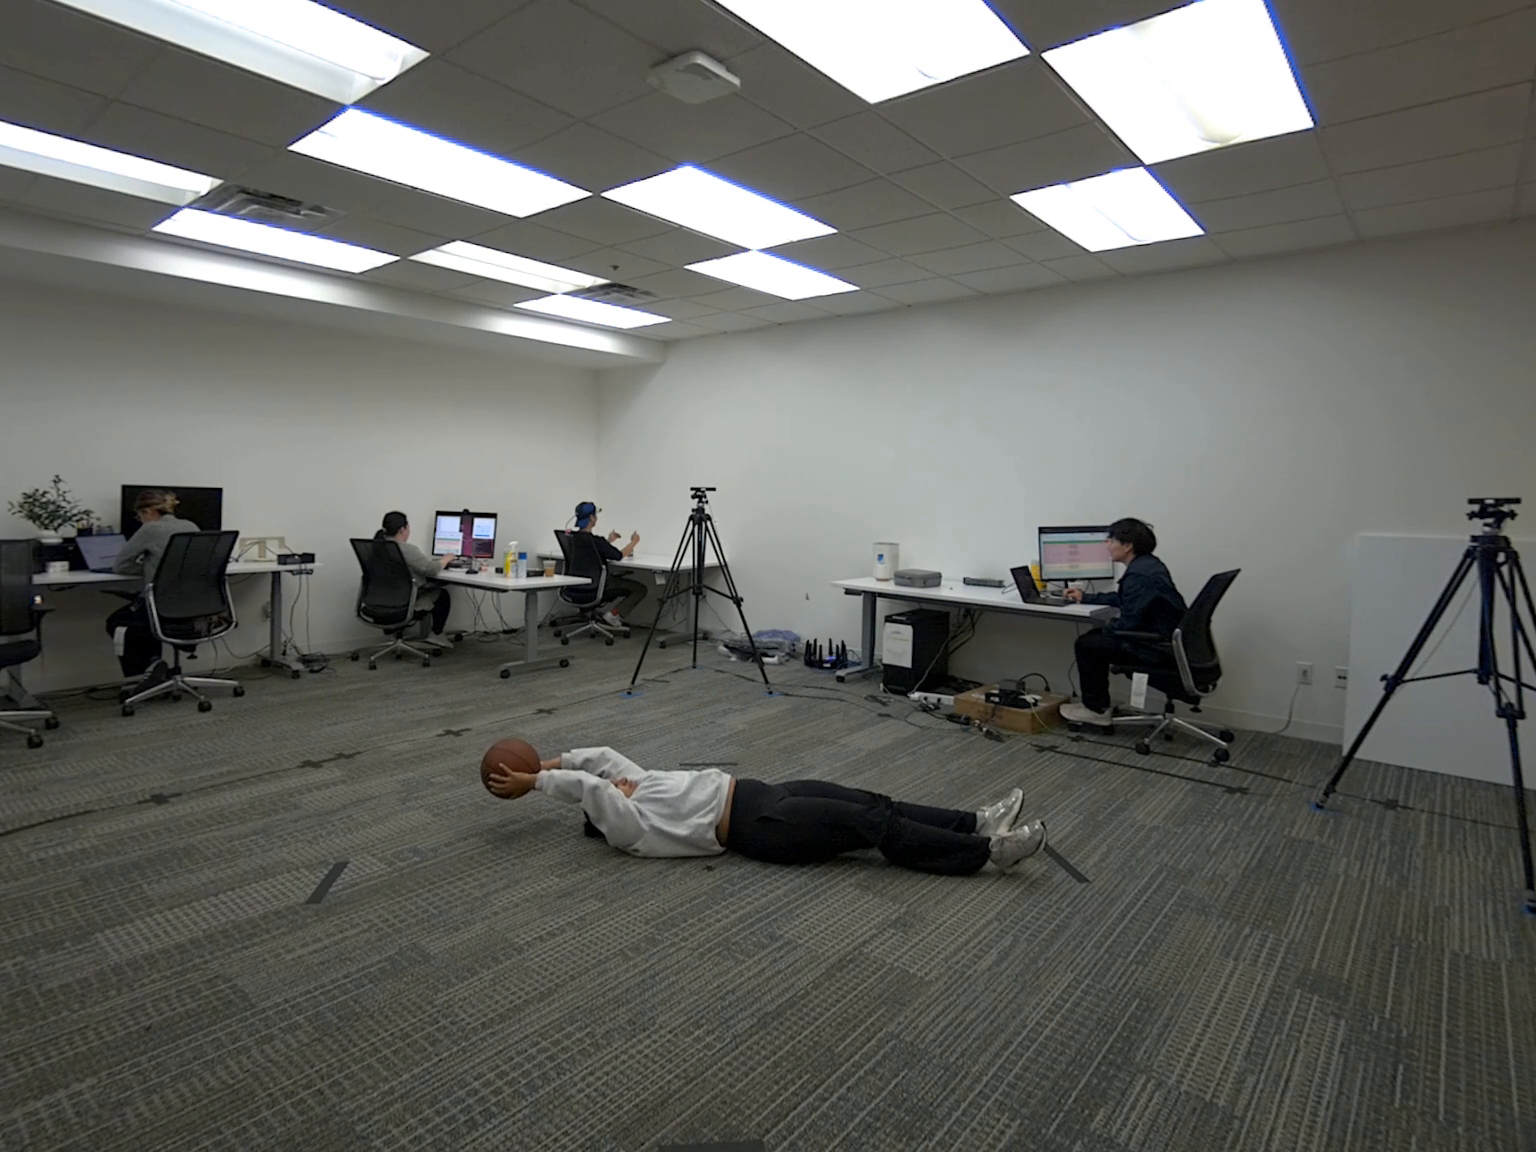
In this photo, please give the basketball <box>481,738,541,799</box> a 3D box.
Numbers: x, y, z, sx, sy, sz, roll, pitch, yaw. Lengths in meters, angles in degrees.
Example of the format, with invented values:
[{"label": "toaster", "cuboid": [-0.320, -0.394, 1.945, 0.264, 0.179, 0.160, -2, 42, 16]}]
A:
[{"label": "basketball", "cuboid": [-1.058, 0.779, 3.455, 0.236, 0.235, 0.237, 0, 4, -2]}]
